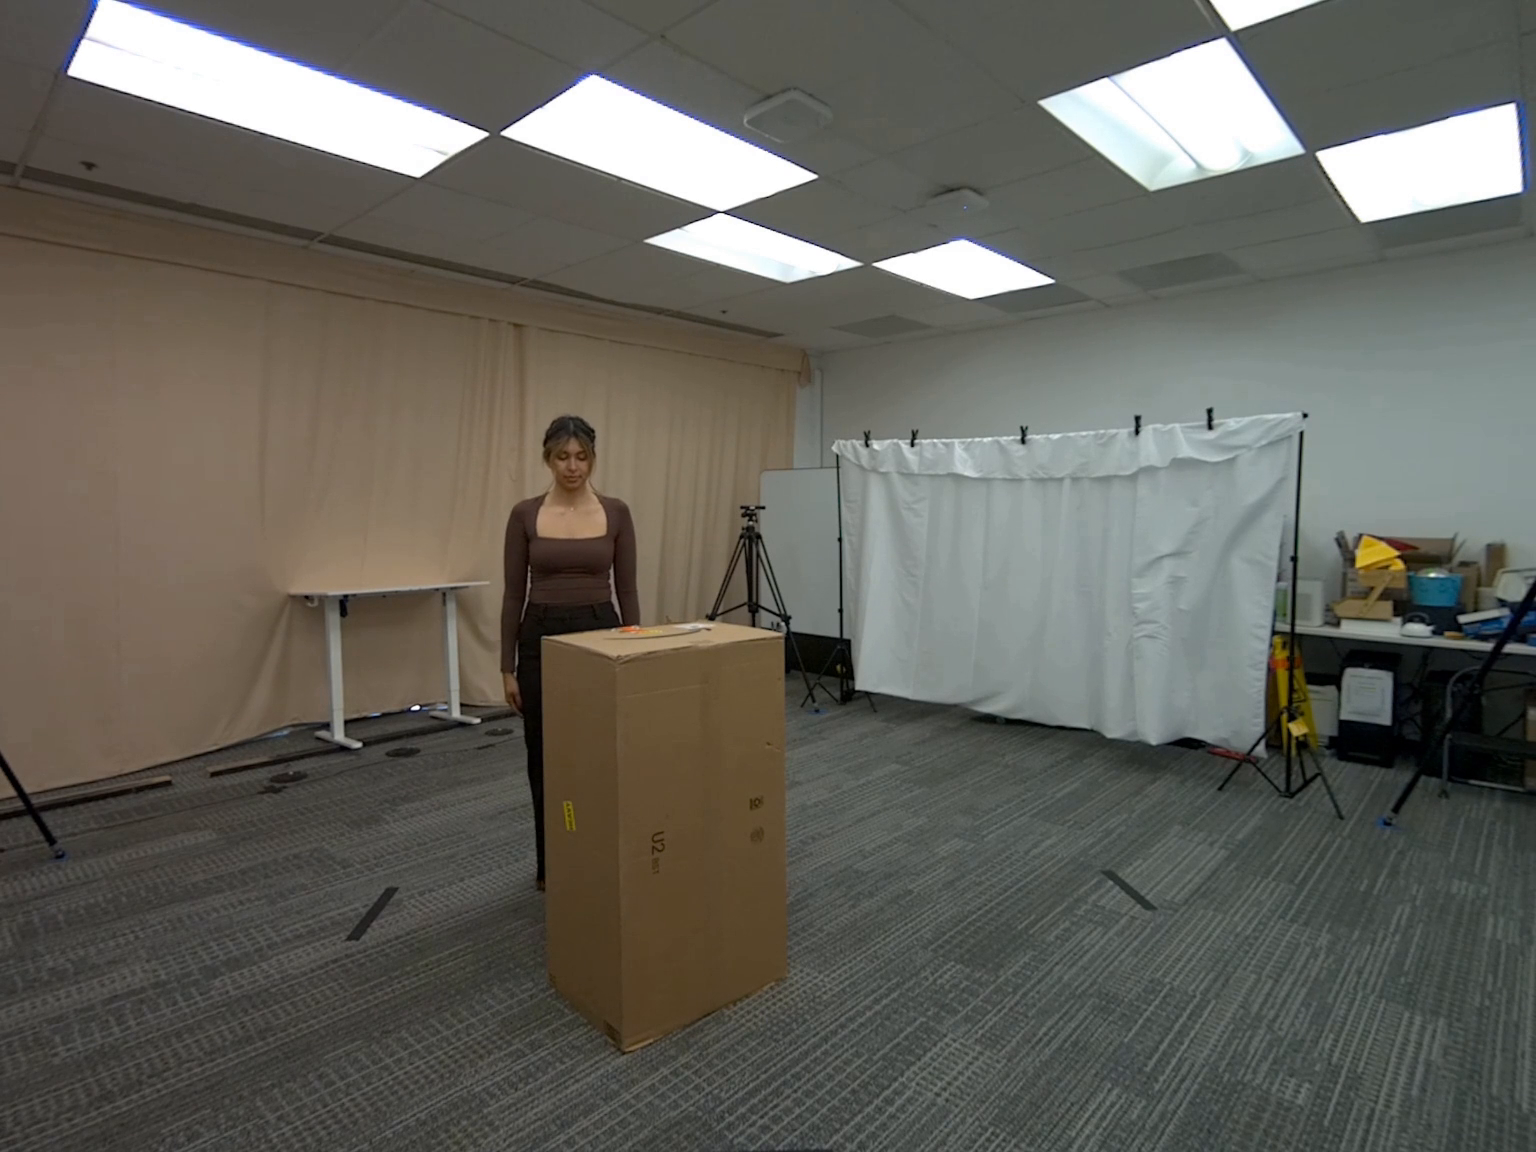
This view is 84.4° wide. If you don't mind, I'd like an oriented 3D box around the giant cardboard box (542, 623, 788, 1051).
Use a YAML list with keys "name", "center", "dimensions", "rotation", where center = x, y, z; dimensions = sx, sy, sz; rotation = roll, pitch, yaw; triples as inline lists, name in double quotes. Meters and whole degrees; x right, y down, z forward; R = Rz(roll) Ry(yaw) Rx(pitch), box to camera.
- name: "giant cardboard box"
  center: [-0.292, 0.681, 2.452]
  dimensions: [0.566, 1.025, 0.461]
  rotation: [-2, 3, -39]
